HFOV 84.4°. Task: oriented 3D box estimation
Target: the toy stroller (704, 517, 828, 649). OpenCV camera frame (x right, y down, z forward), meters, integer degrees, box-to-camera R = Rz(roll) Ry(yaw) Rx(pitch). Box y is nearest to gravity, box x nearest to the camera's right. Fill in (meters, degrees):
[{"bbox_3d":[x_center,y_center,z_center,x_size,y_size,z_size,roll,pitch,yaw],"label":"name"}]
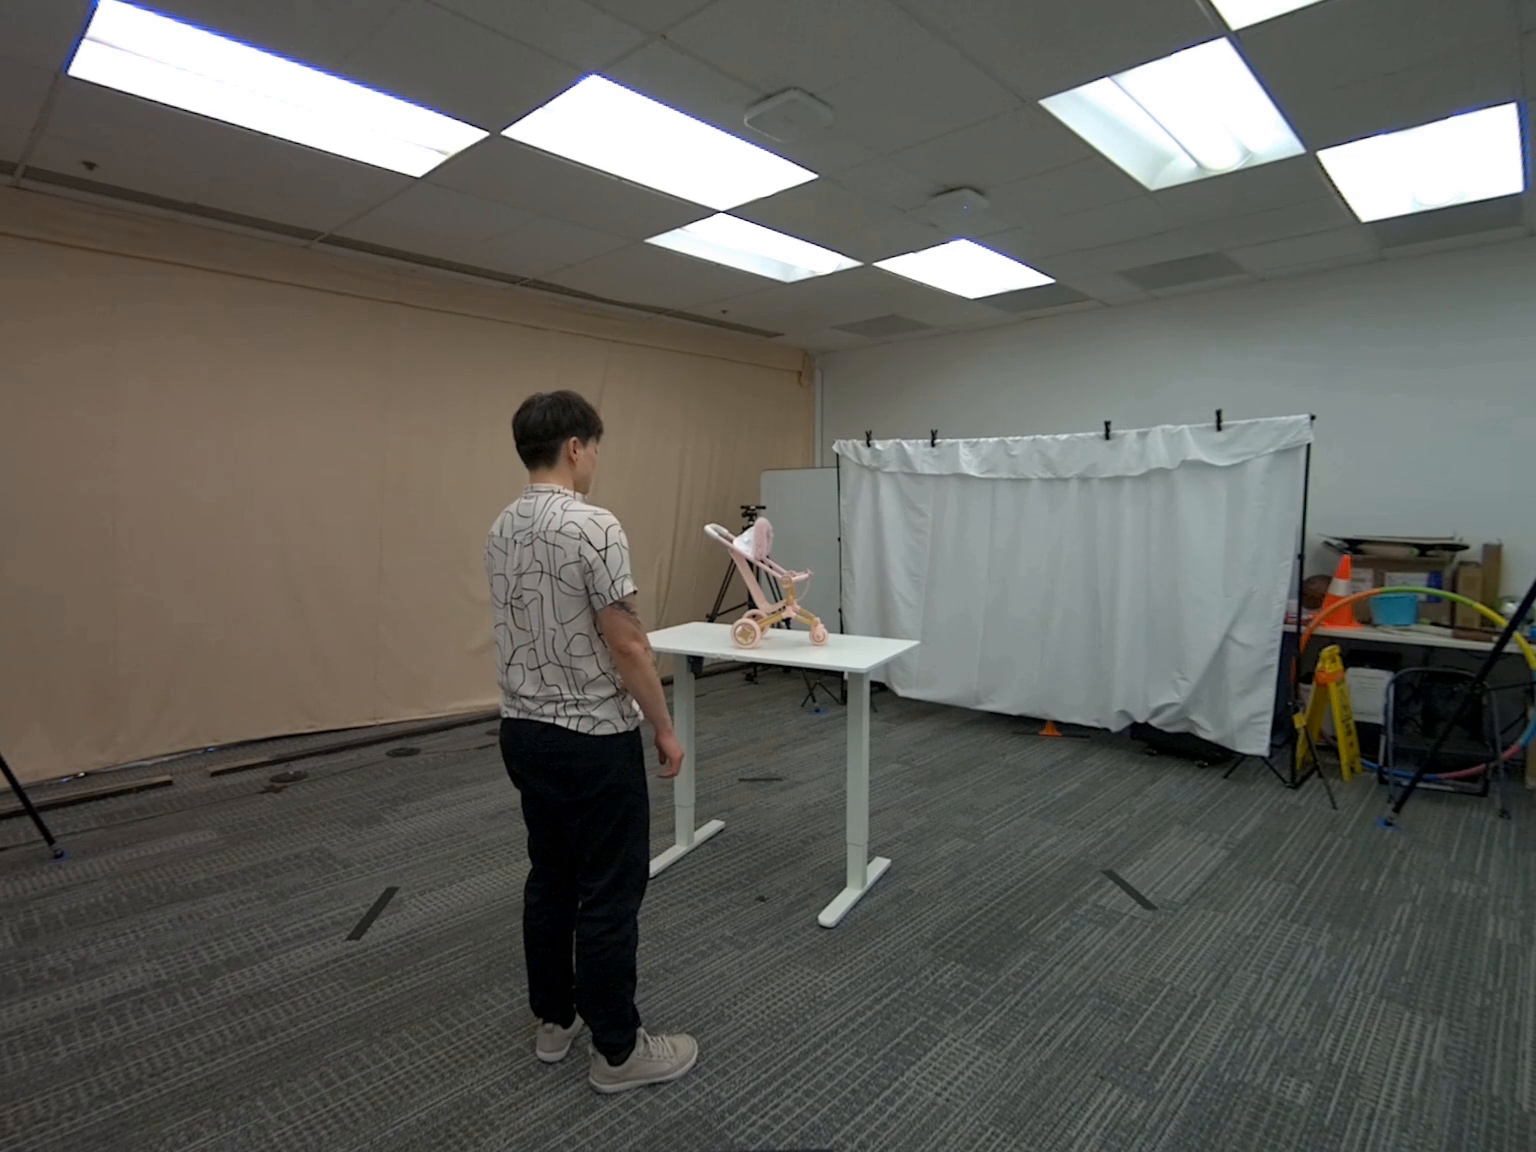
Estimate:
[{"bbox_3d":[0.006,0.029,3.101,0.346,0.535,0.277,-14,0,15],"label":"toy stroller"}]
